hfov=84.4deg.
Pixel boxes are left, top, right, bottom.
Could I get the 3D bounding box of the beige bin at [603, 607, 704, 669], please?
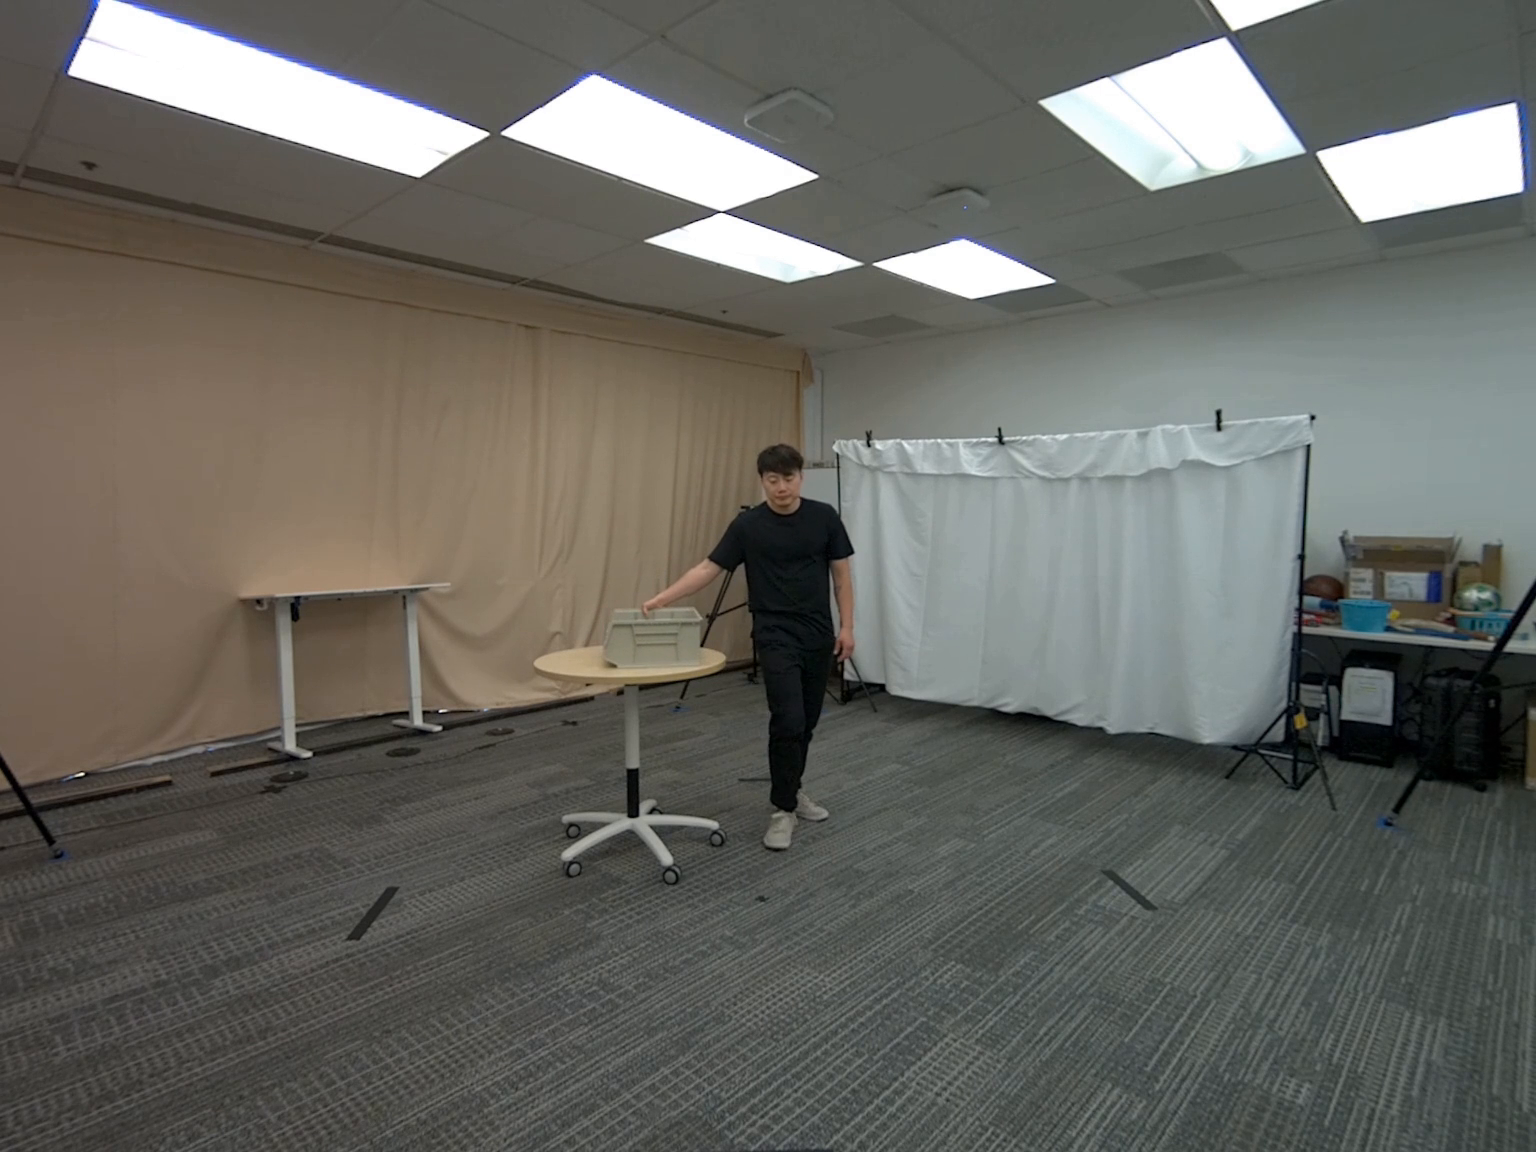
[{"bbox_3d":[-0.472,0.242,3.386,0.374,0.189,0.426,0,2,-9],"label":"beige bin"}]
